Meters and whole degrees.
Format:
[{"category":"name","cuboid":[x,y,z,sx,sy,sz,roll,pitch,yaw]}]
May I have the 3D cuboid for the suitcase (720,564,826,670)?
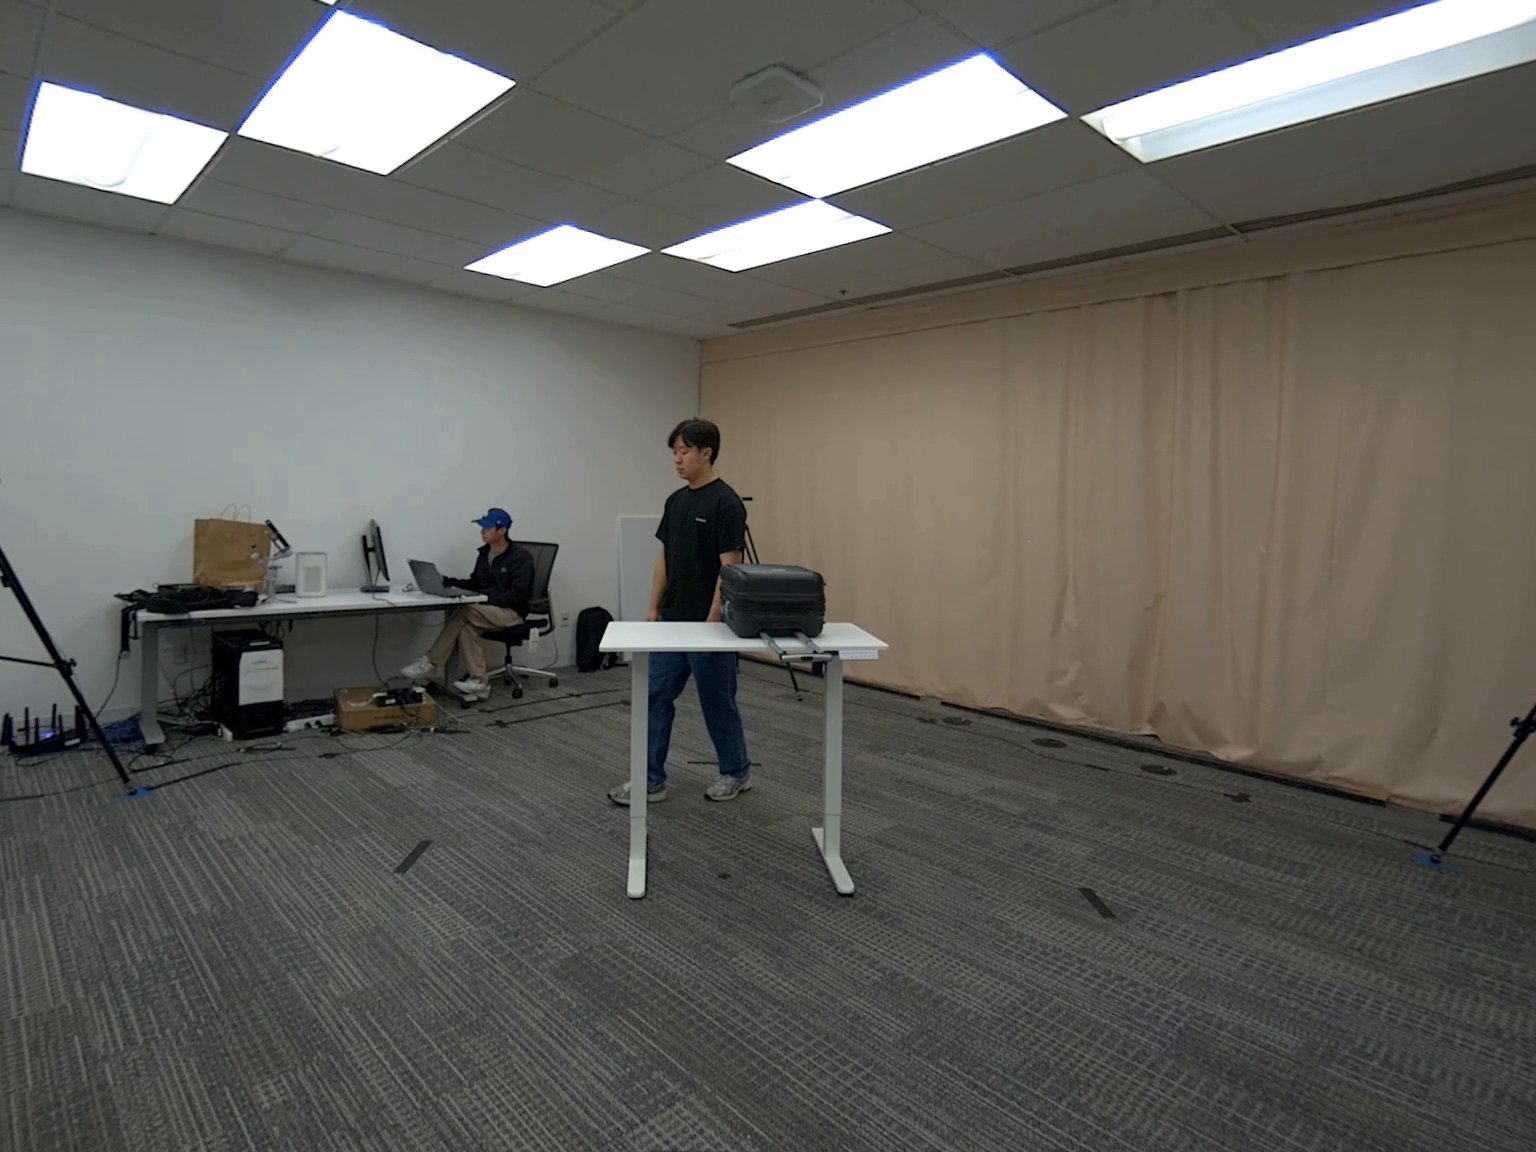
[{"category":"suitcase","cuboid":[0.034,0.103,3.095,0.382,0.257,0.986,2,3,-8]}]
